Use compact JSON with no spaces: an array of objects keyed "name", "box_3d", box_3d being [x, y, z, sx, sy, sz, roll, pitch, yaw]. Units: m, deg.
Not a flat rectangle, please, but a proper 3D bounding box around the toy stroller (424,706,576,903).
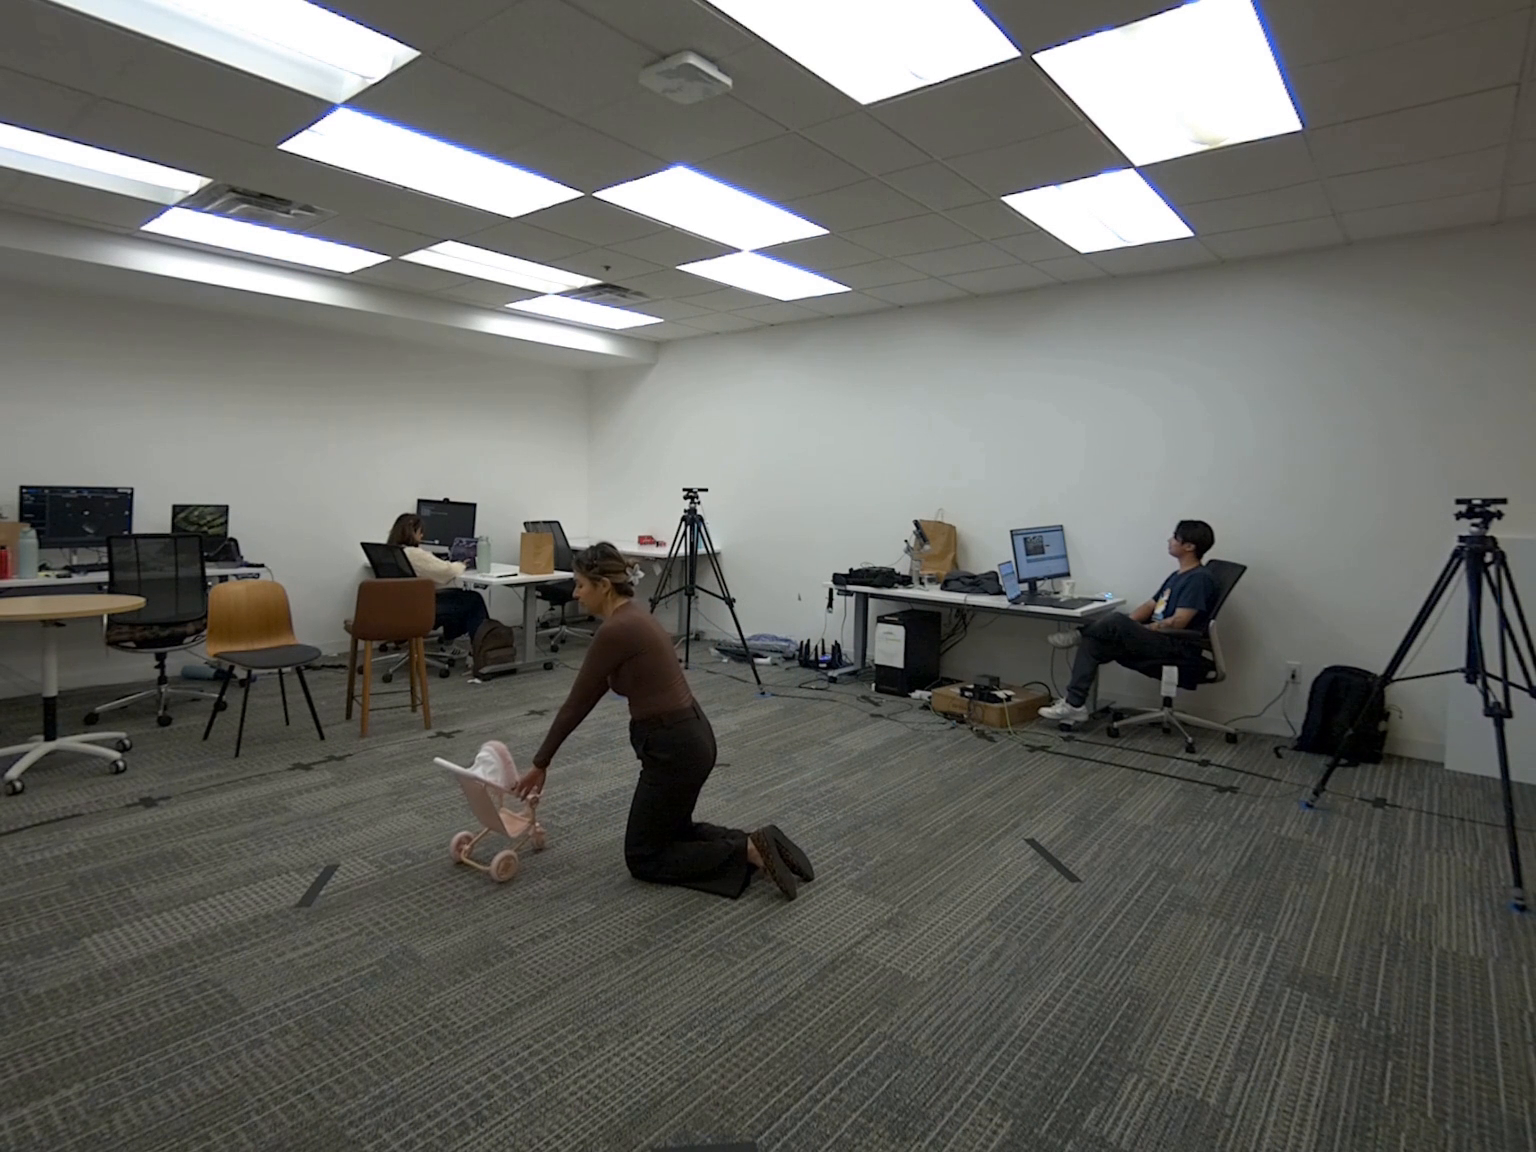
[{"name":"toy stroller","box_3d":[-0.982,0.823,3.103,0.291,0.526,0.335,6,21,40]}]
